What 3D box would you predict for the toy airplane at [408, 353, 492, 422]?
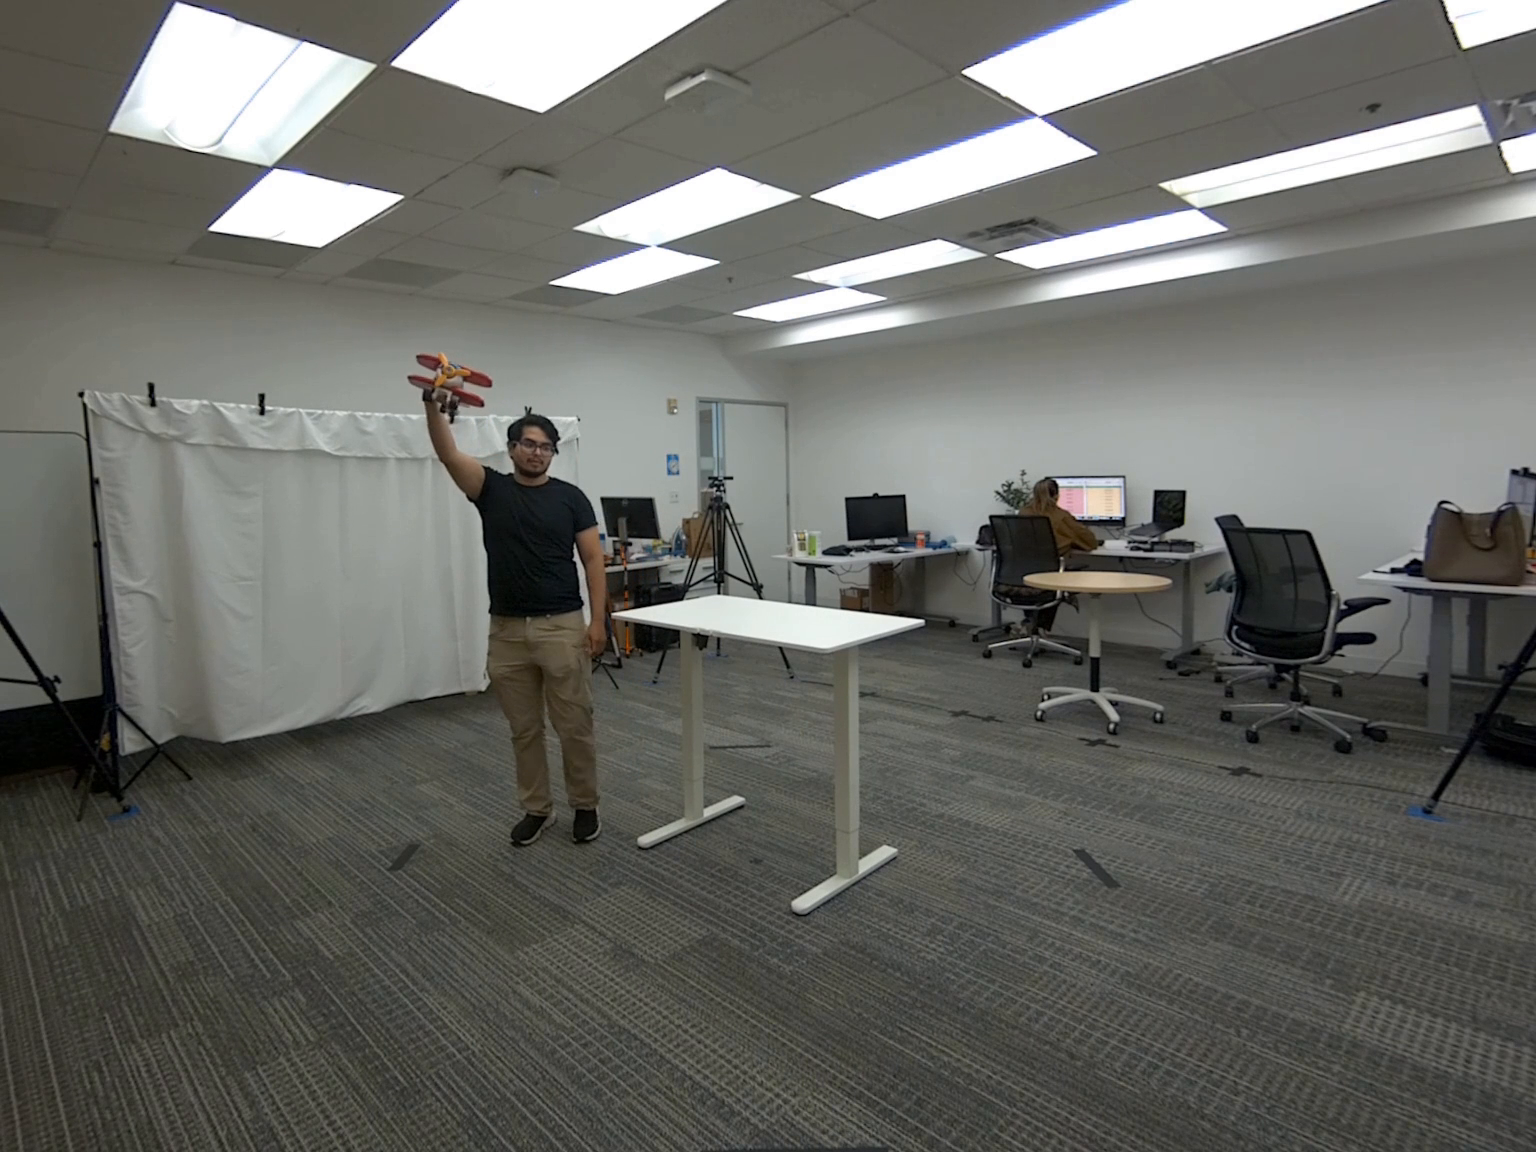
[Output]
[{"bbox_3d":[-1.073,-0.632,2.858,0.242,0.157,0.268,20,-3,-38],"label":"toy airplane"}]
